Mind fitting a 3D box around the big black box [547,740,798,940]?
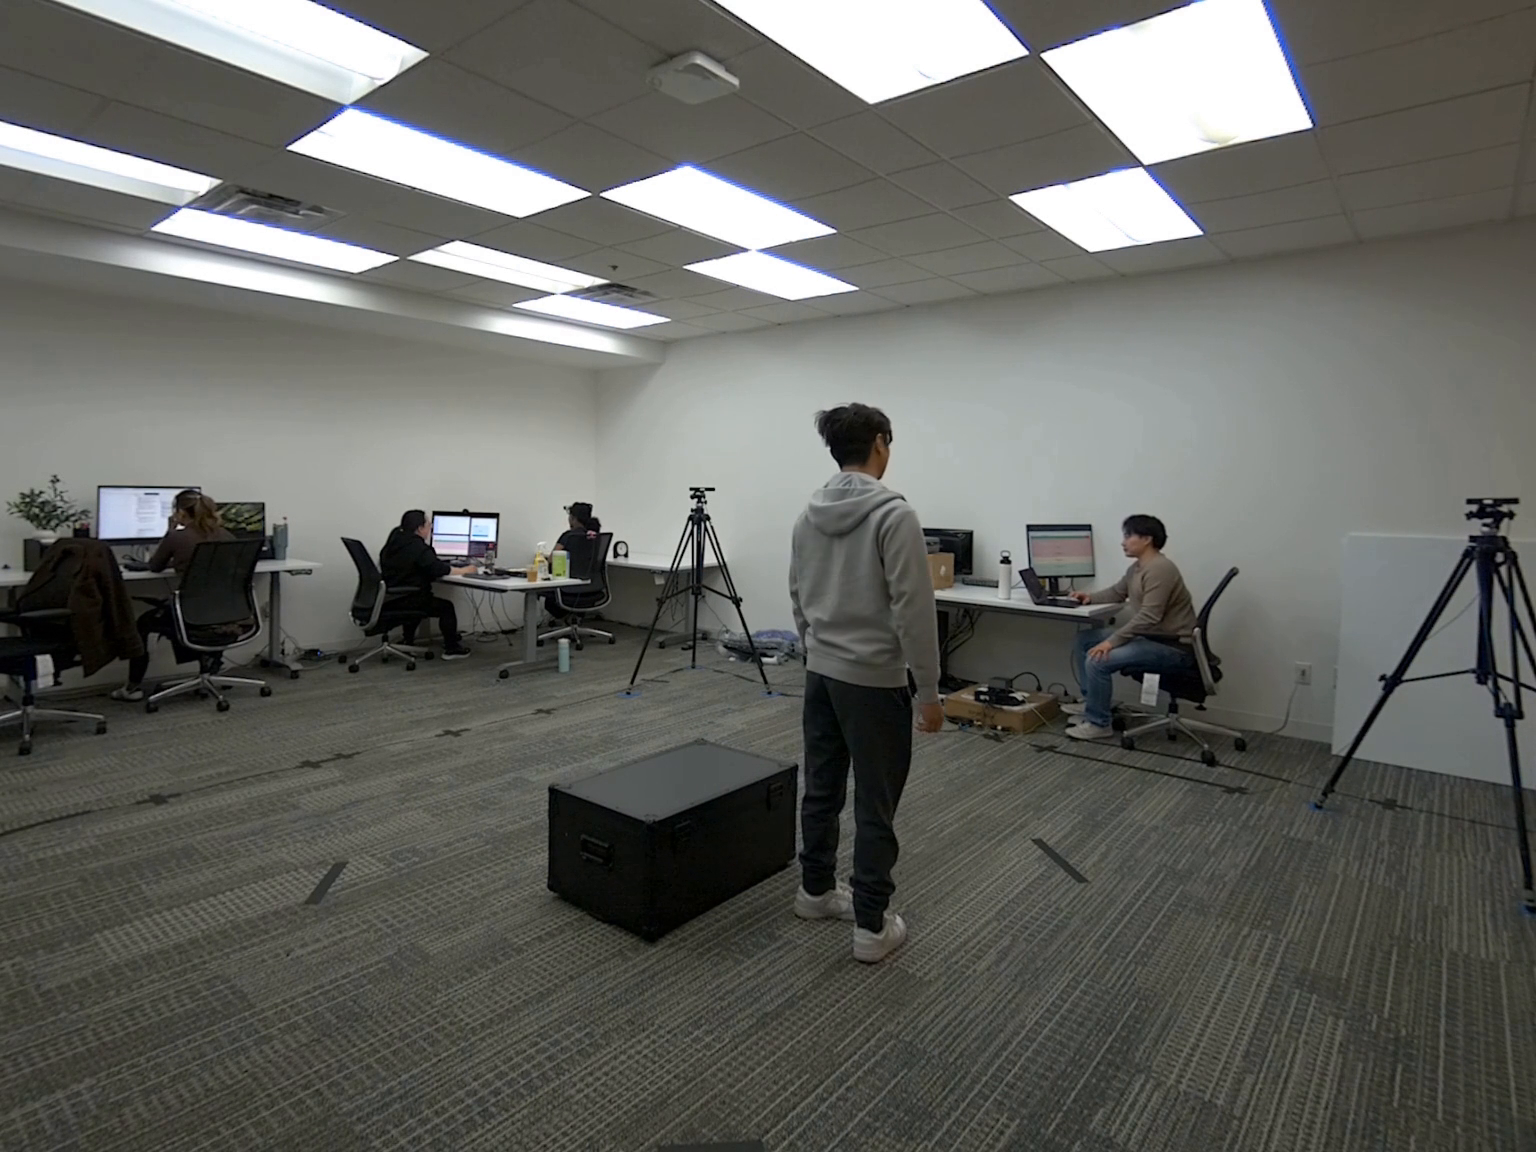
[{"bbox_3d":[-0.307,0.882,3.031,0.539,0.394,0.837,5,7,37],"label":"big black box"}]
